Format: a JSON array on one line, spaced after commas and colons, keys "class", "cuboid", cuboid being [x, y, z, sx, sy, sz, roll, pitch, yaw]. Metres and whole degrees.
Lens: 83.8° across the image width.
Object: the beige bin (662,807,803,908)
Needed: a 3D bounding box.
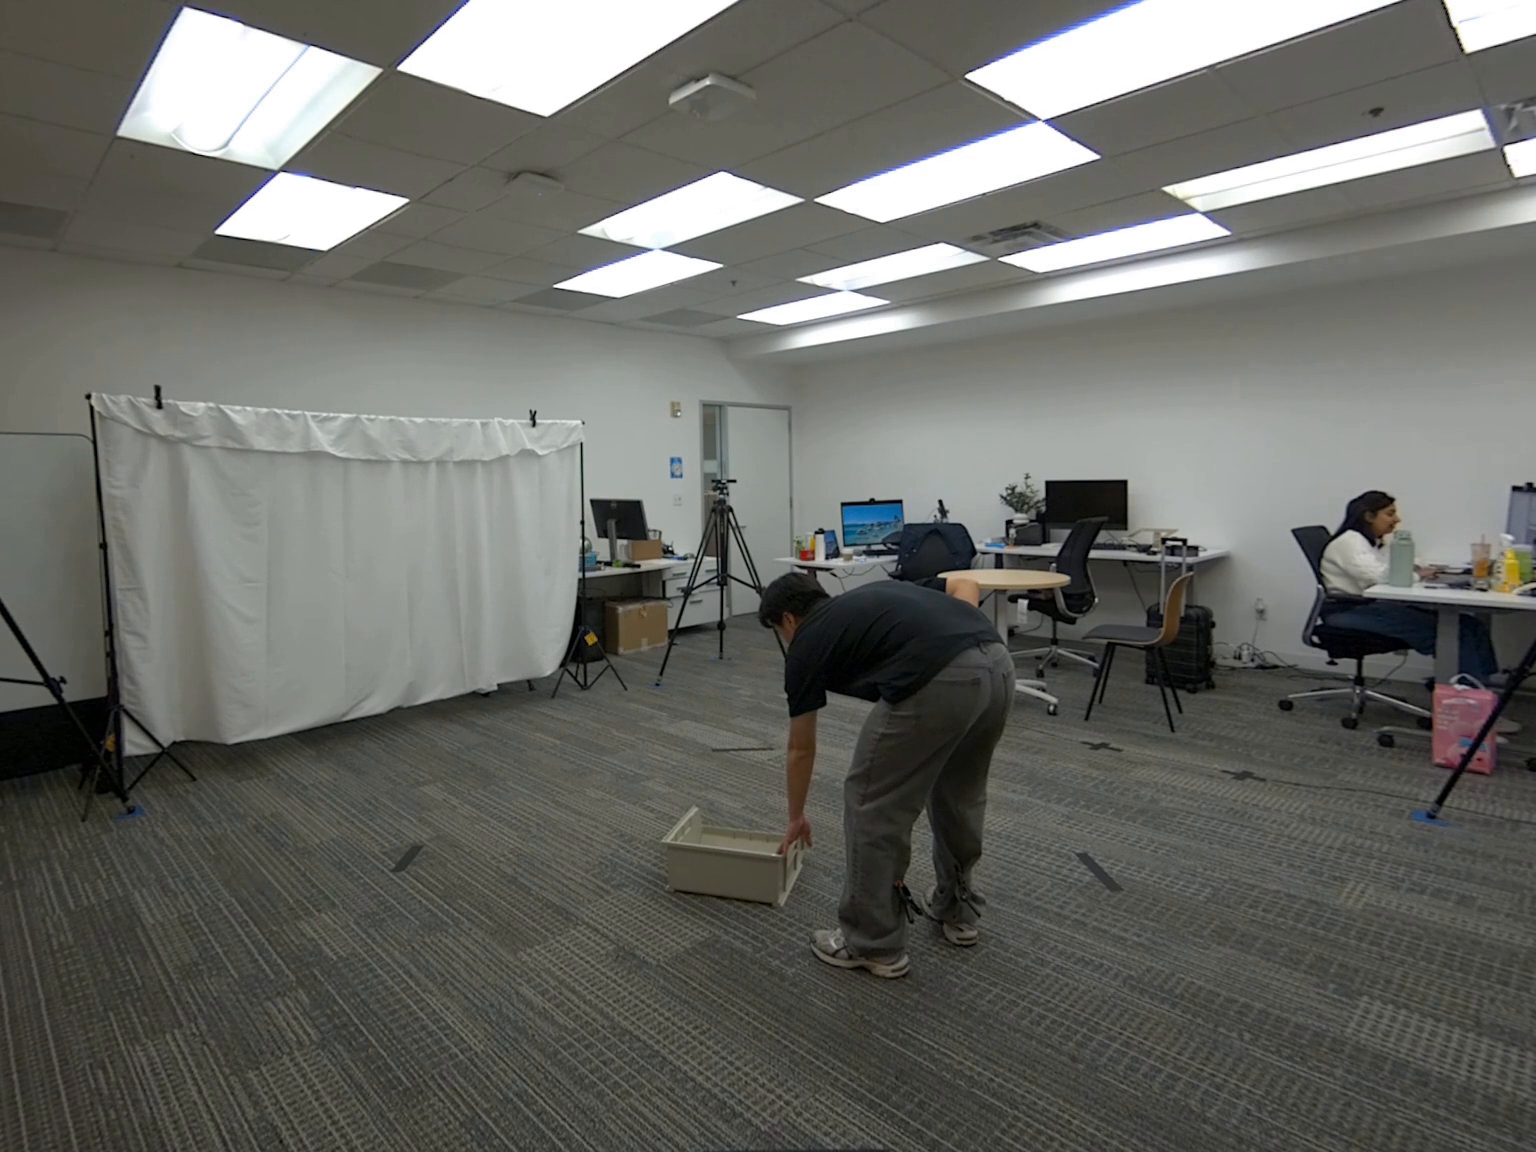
[{"class": "beige bin", "cuboid": [-0.110, 0.971, 3.009, 0.429, 0.188, 0.373, 1, 7, 16]}]
